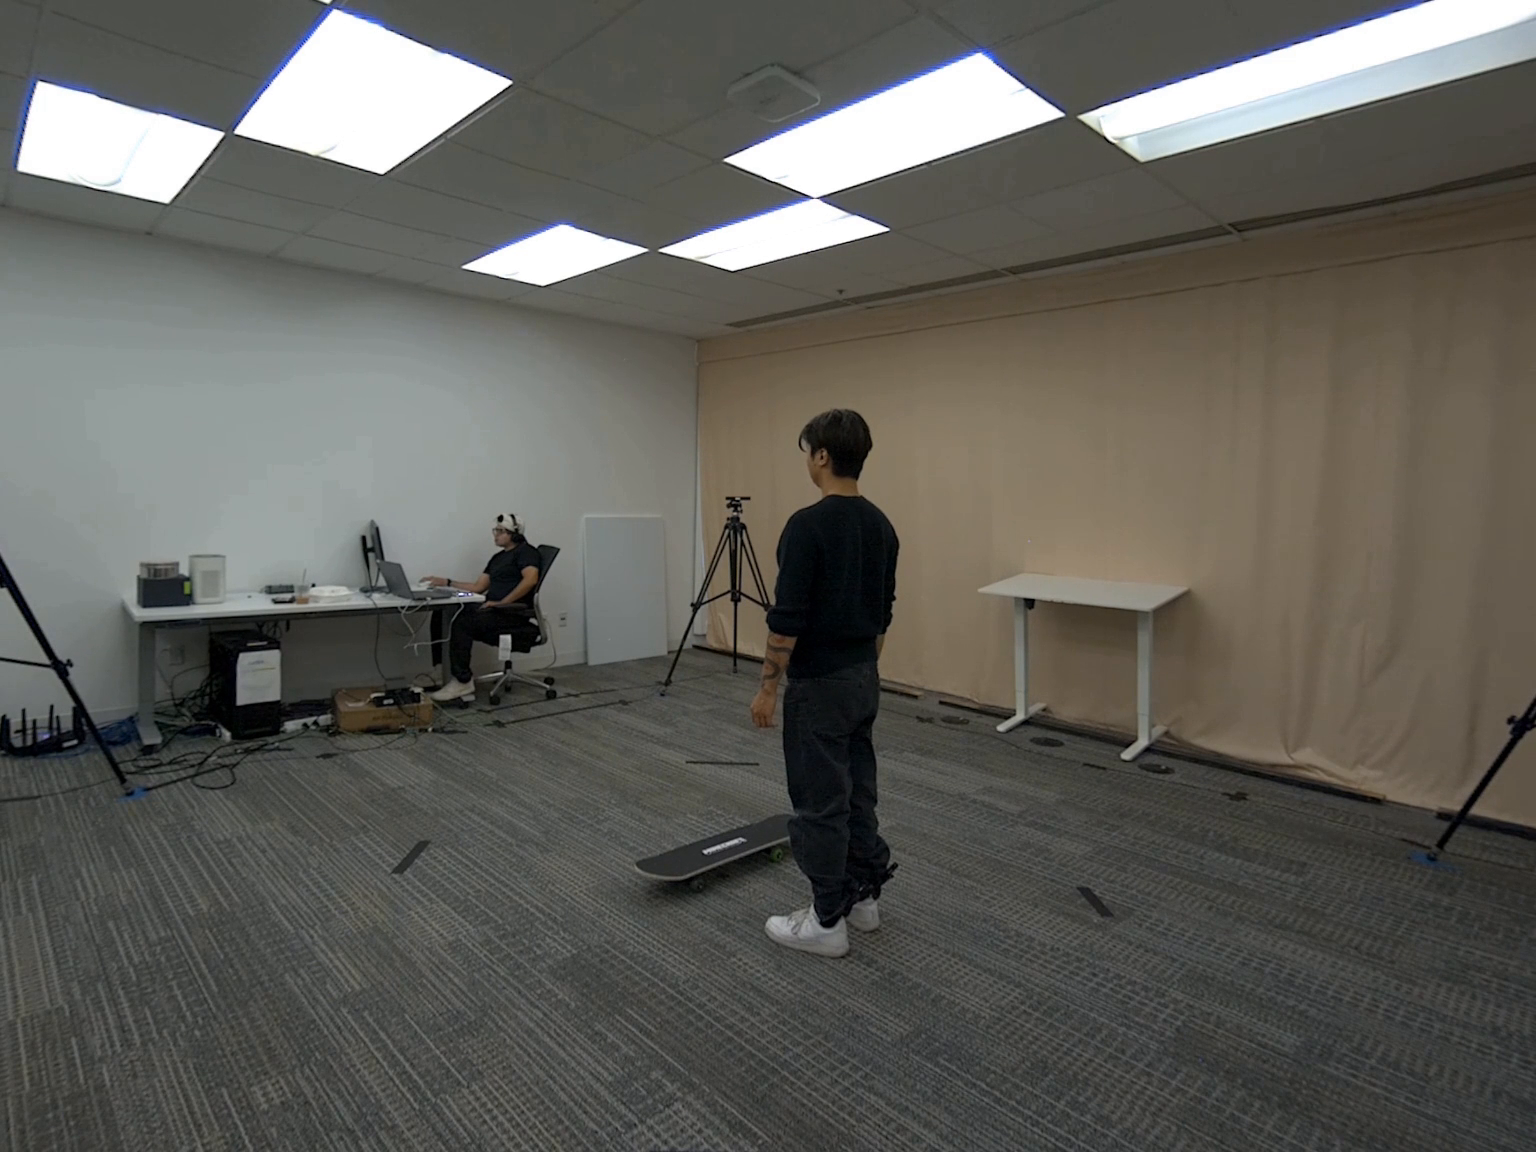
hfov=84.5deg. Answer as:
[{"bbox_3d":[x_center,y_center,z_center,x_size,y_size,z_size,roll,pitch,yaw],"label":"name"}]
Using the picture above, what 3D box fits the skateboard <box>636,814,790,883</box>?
[{"bbox_3d":[-0.165,1.042,3.154,0.767,0.110,0.198,-3,6,-44],"label":"skateboard"}]
